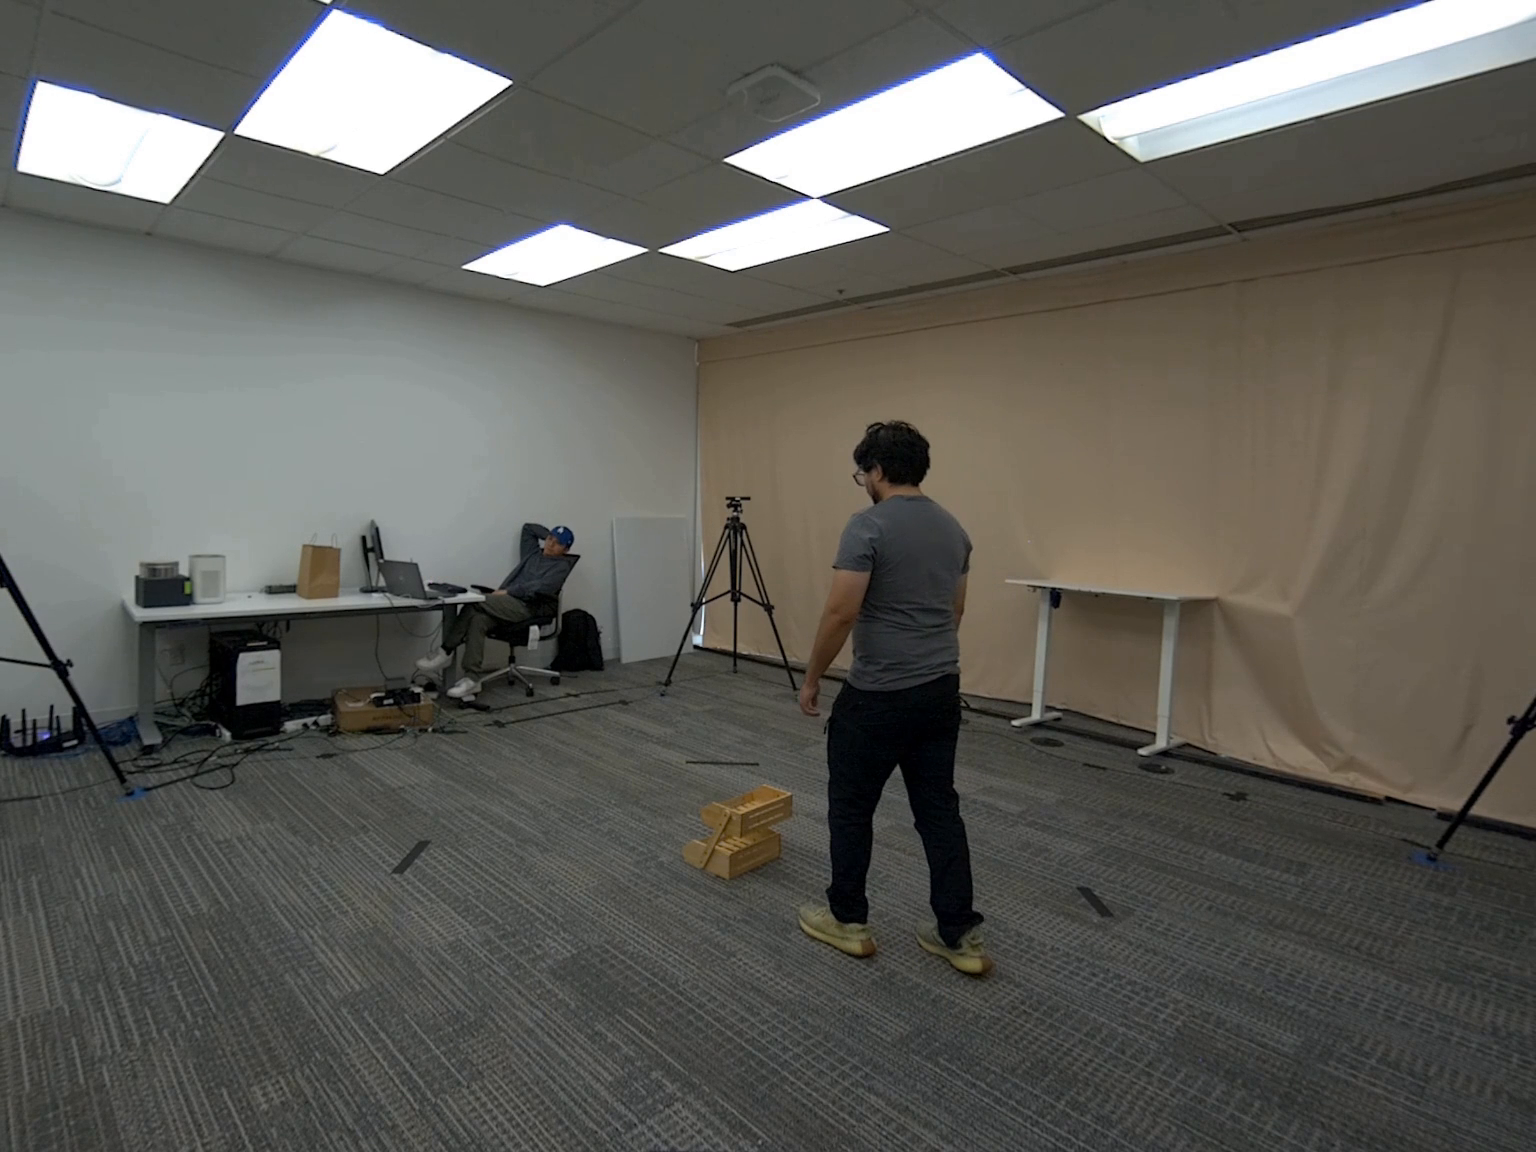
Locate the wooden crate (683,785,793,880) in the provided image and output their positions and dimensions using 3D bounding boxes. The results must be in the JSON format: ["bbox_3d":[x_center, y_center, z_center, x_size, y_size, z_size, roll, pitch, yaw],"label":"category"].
[{"bbox_3d":[-0.124,0.955,3.237,0.310,0.272,0.317,5,5,41],"label":"wooden crate"}]
